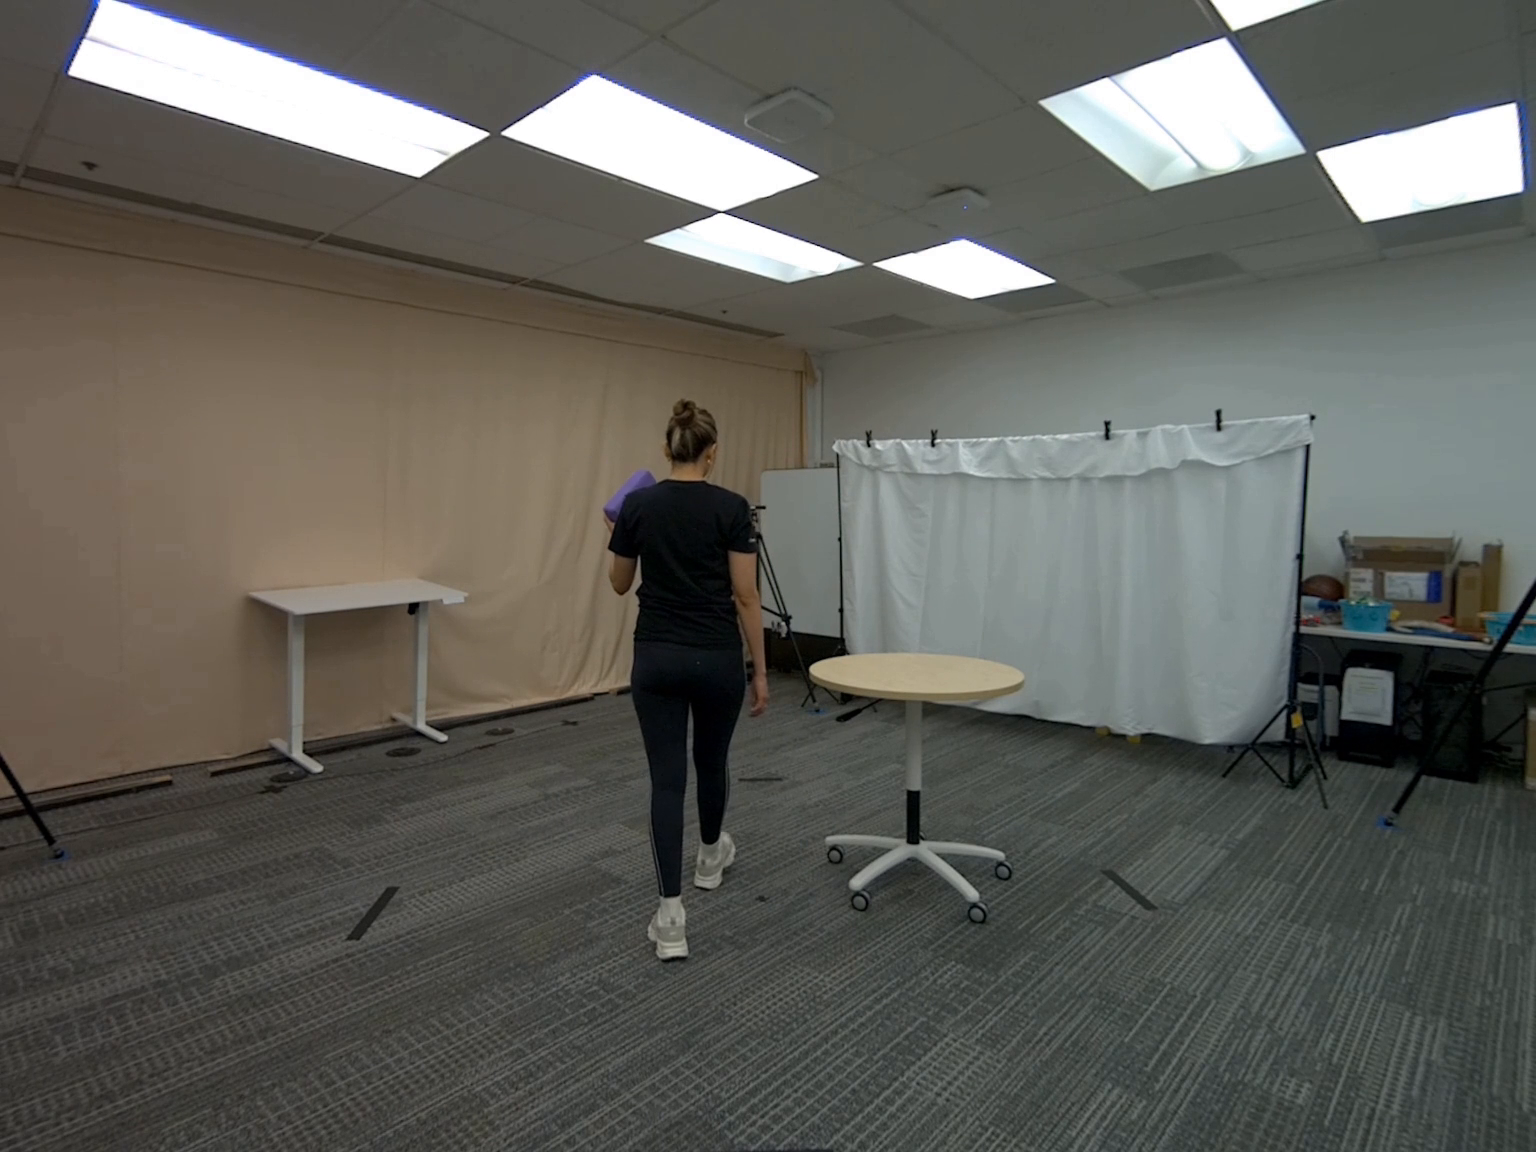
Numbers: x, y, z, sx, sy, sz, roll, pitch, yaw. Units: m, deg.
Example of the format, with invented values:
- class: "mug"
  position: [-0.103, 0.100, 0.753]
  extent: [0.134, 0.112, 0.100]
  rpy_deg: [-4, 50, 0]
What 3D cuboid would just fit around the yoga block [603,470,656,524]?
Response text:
- class: "yoga block"
  position: [-0.493, -0.277, 3.193]
  extent: [0.079, 0.144, 0.228]
  rpy_deg: [6, 51, 46]
